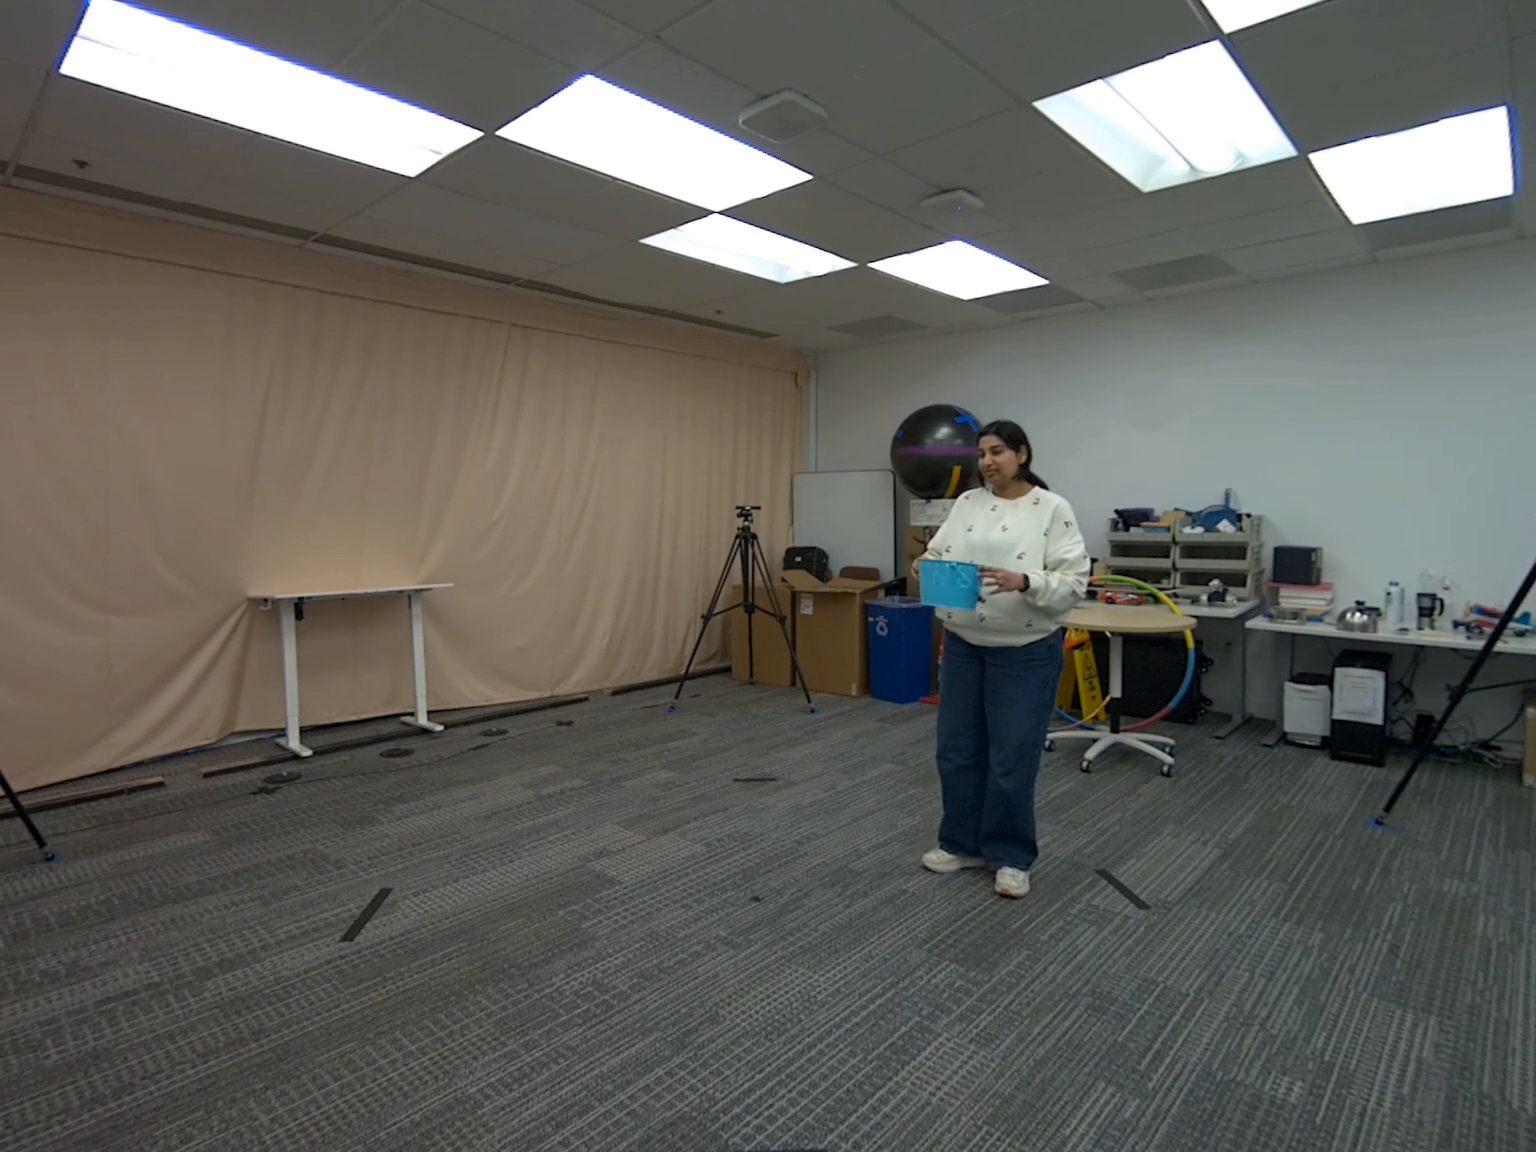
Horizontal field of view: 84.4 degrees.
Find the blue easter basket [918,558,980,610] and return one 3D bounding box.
[{"bbox_3d":[0.634,0.029,2.827,0.243,0.156,0.244,7,0,-2],"label":"blue easter basket"}]
